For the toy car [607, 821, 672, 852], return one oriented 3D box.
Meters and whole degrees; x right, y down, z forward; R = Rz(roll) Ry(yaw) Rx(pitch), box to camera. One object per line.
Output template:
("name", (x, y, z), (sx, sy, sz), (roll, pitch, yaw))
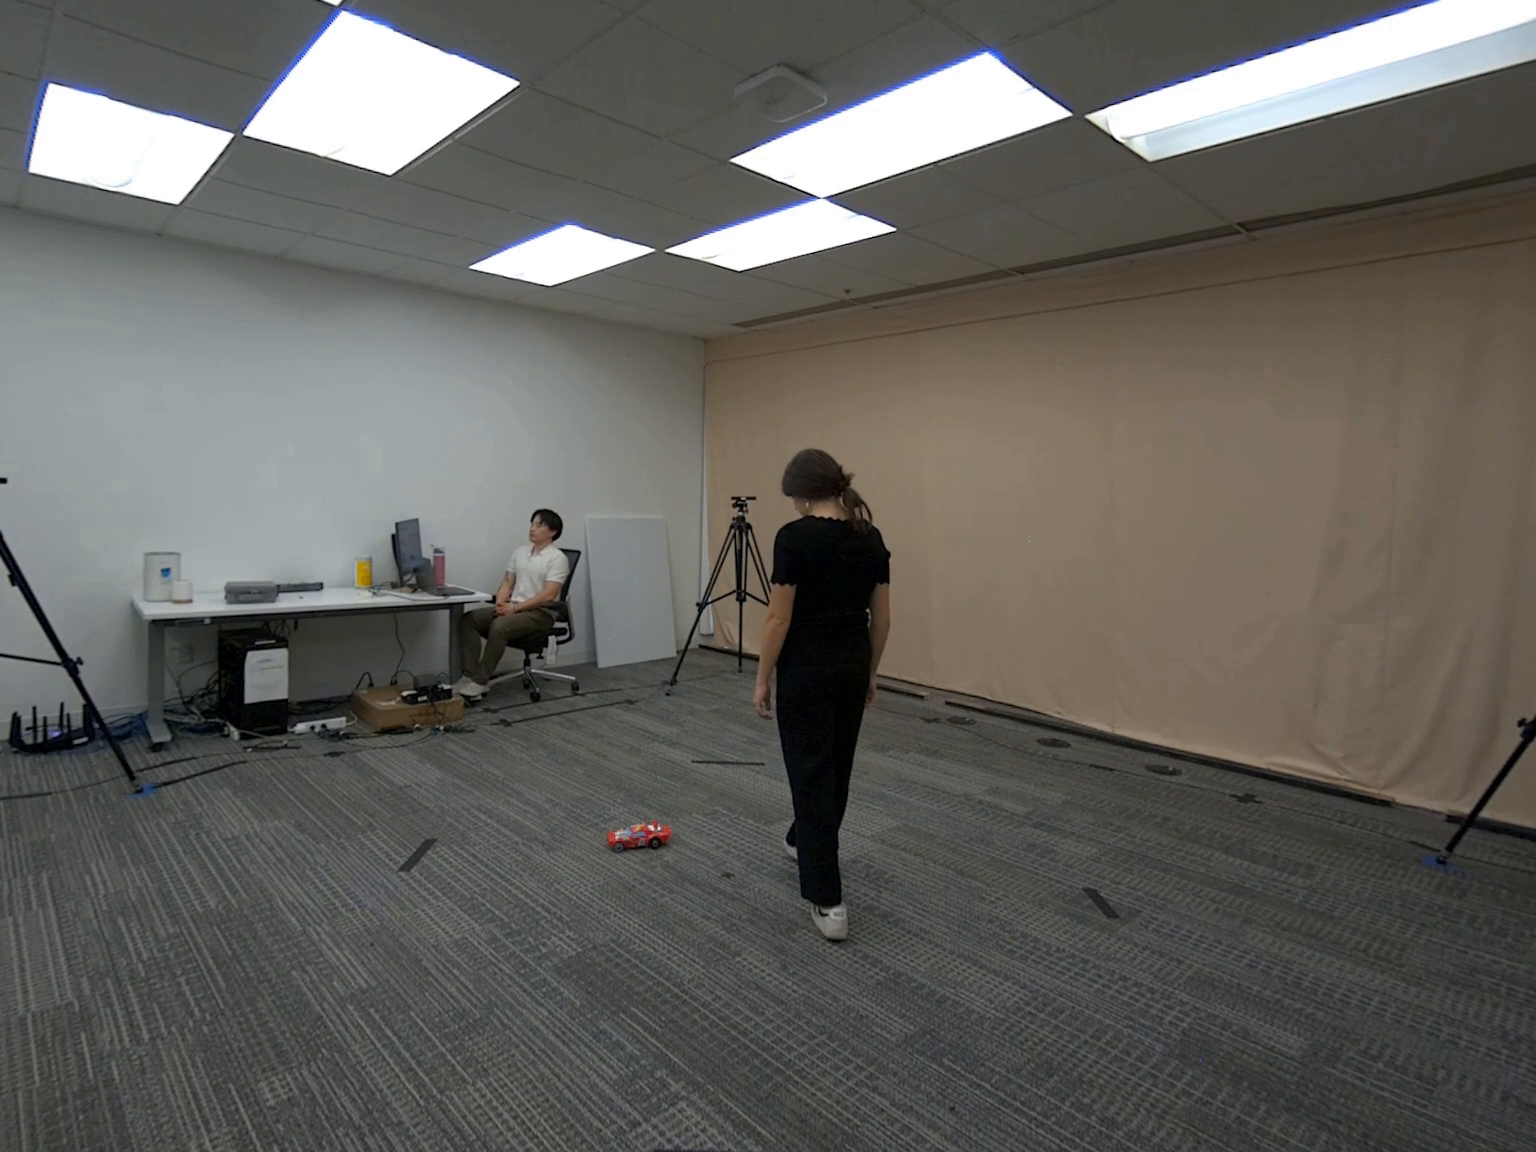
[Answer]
("toy car", (-0.520, 1.043, 3.361), (0.252, 0.083, 0.132), (-11, 8, -16))
